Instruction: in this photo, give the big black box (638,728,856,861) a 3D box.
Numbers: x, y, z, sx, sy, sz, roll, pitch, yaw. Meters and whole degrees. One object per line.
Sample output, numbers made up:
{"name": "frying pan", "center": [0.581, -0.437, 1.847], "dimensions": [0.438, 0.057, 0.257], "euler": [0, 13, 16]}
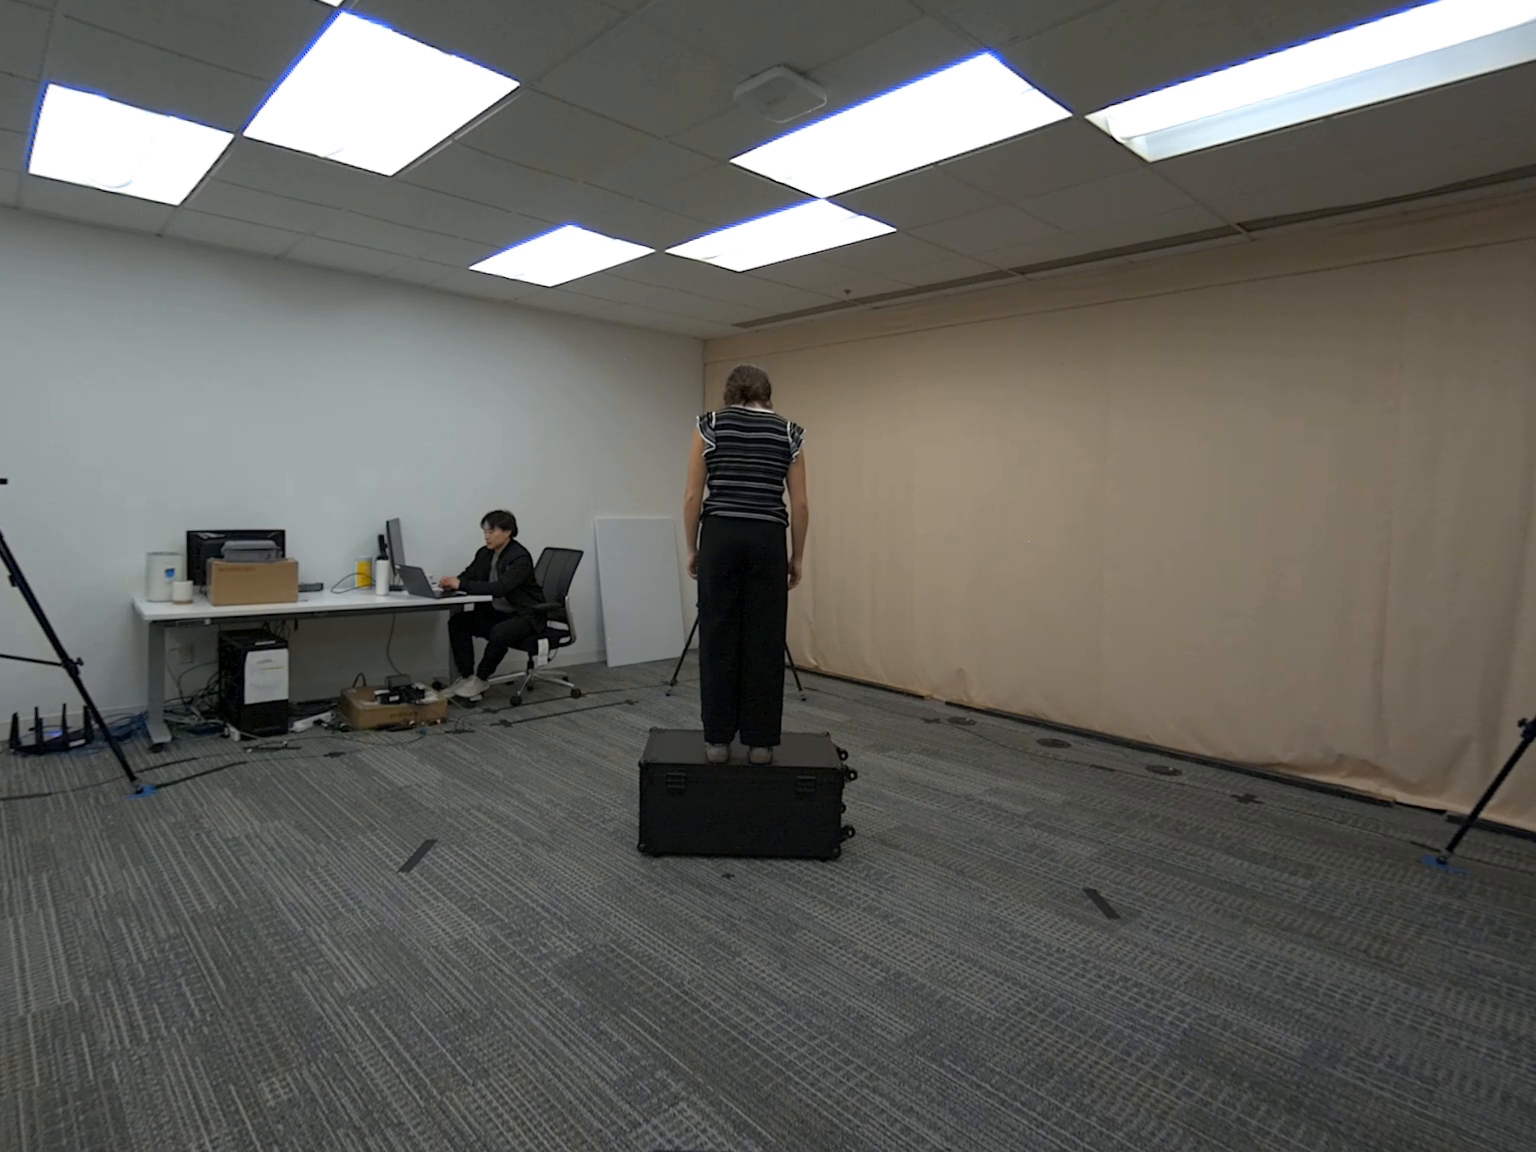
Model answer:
{"name": "big black box", "center": [-0.091, 0.884, 3.465], "dimensions": [0.861, 0.395, 0.523], "euler": [1, 5, -1]}
